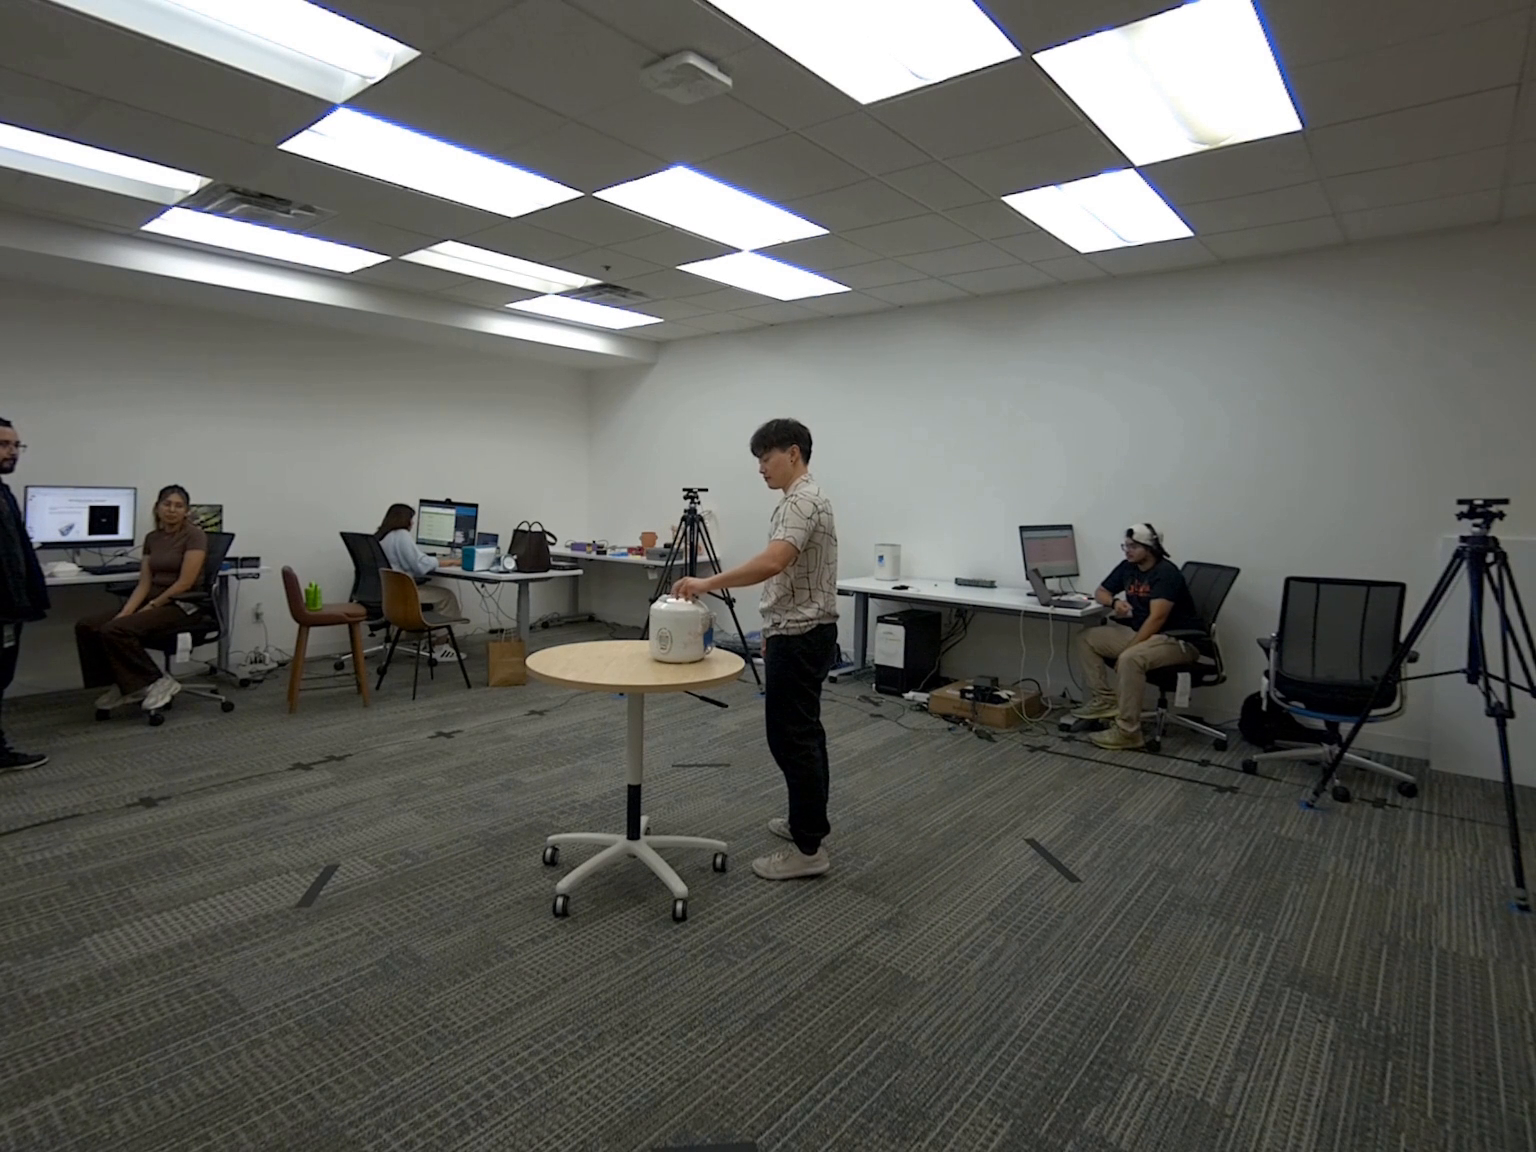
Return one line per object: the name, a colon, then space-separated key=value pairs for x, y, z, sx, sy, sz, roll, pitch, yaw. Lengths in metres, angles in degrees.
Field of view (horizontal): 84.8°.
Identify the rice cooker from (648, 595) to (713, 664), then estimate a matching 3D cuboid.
rice cooker: x=-0.326 y=0.175 z=3.025 sx=0.226 sy=0.232 sz=0.212 roll=4 pitch=4 yaw=24
